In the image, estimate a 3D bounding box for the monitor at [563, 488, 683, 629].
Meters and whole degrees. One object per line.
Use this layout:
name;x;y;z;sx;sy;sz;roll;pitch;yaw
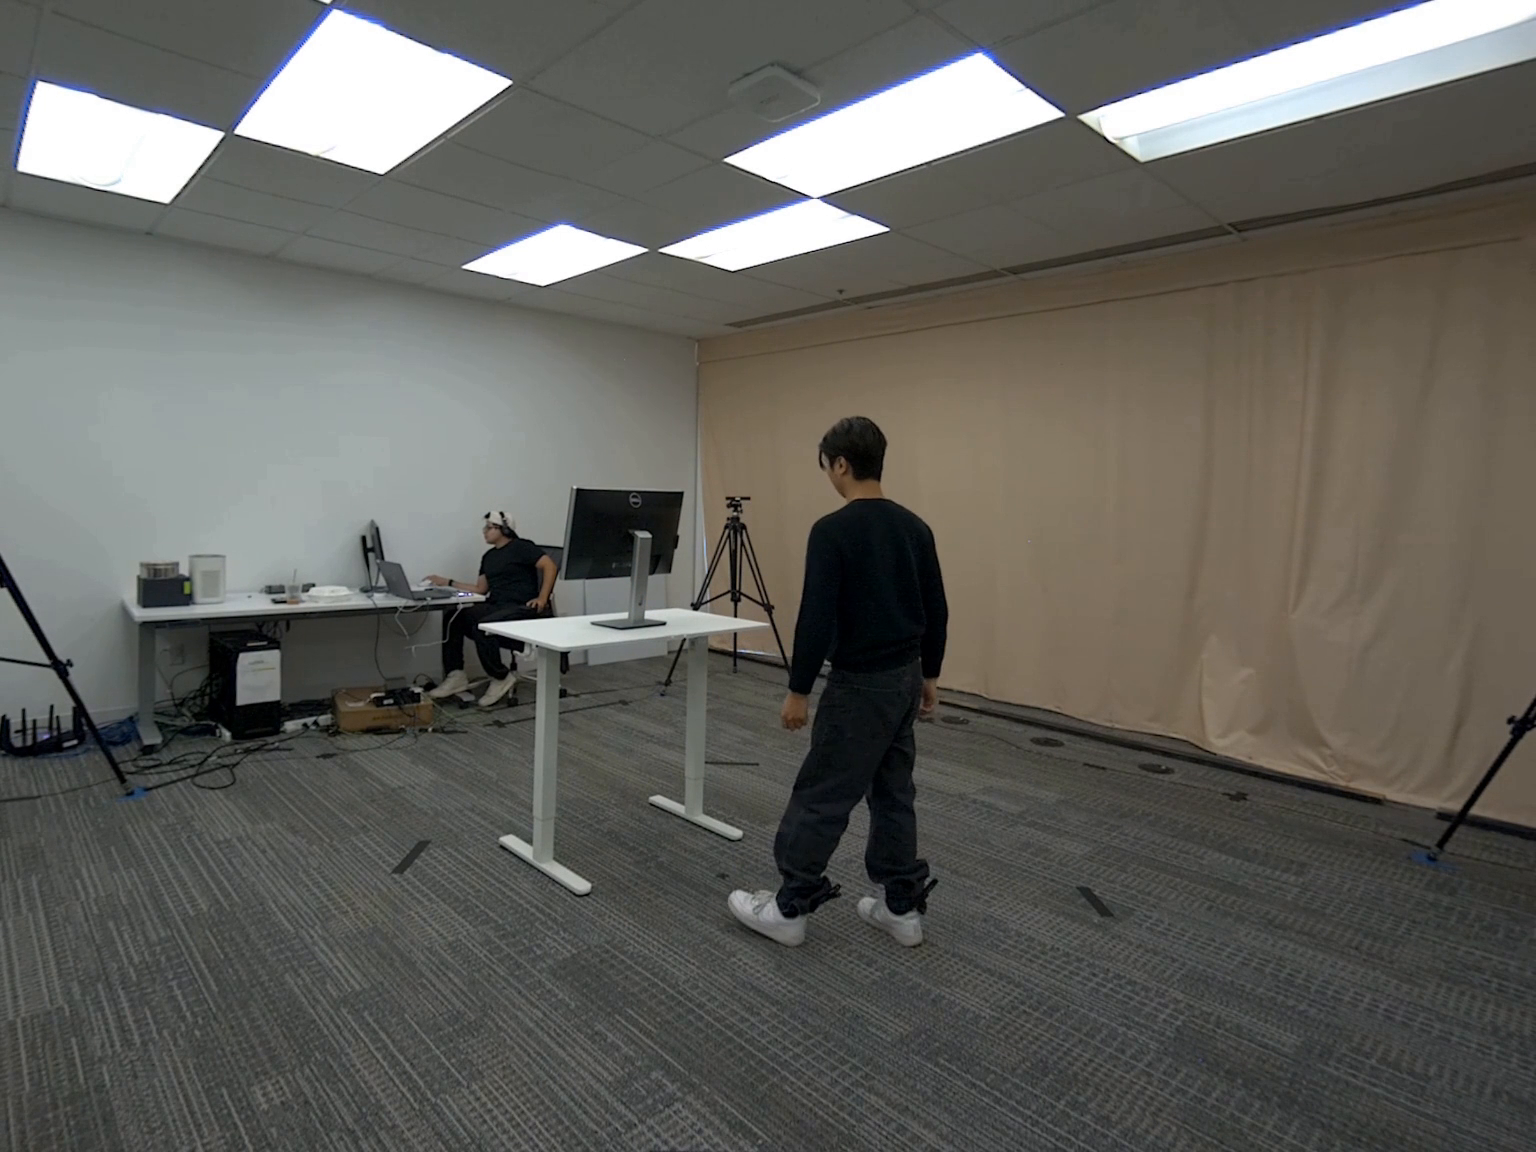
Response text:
monitor;-0.553;-0.071;3.328;0.191;0.522;0.527;2;3;39
